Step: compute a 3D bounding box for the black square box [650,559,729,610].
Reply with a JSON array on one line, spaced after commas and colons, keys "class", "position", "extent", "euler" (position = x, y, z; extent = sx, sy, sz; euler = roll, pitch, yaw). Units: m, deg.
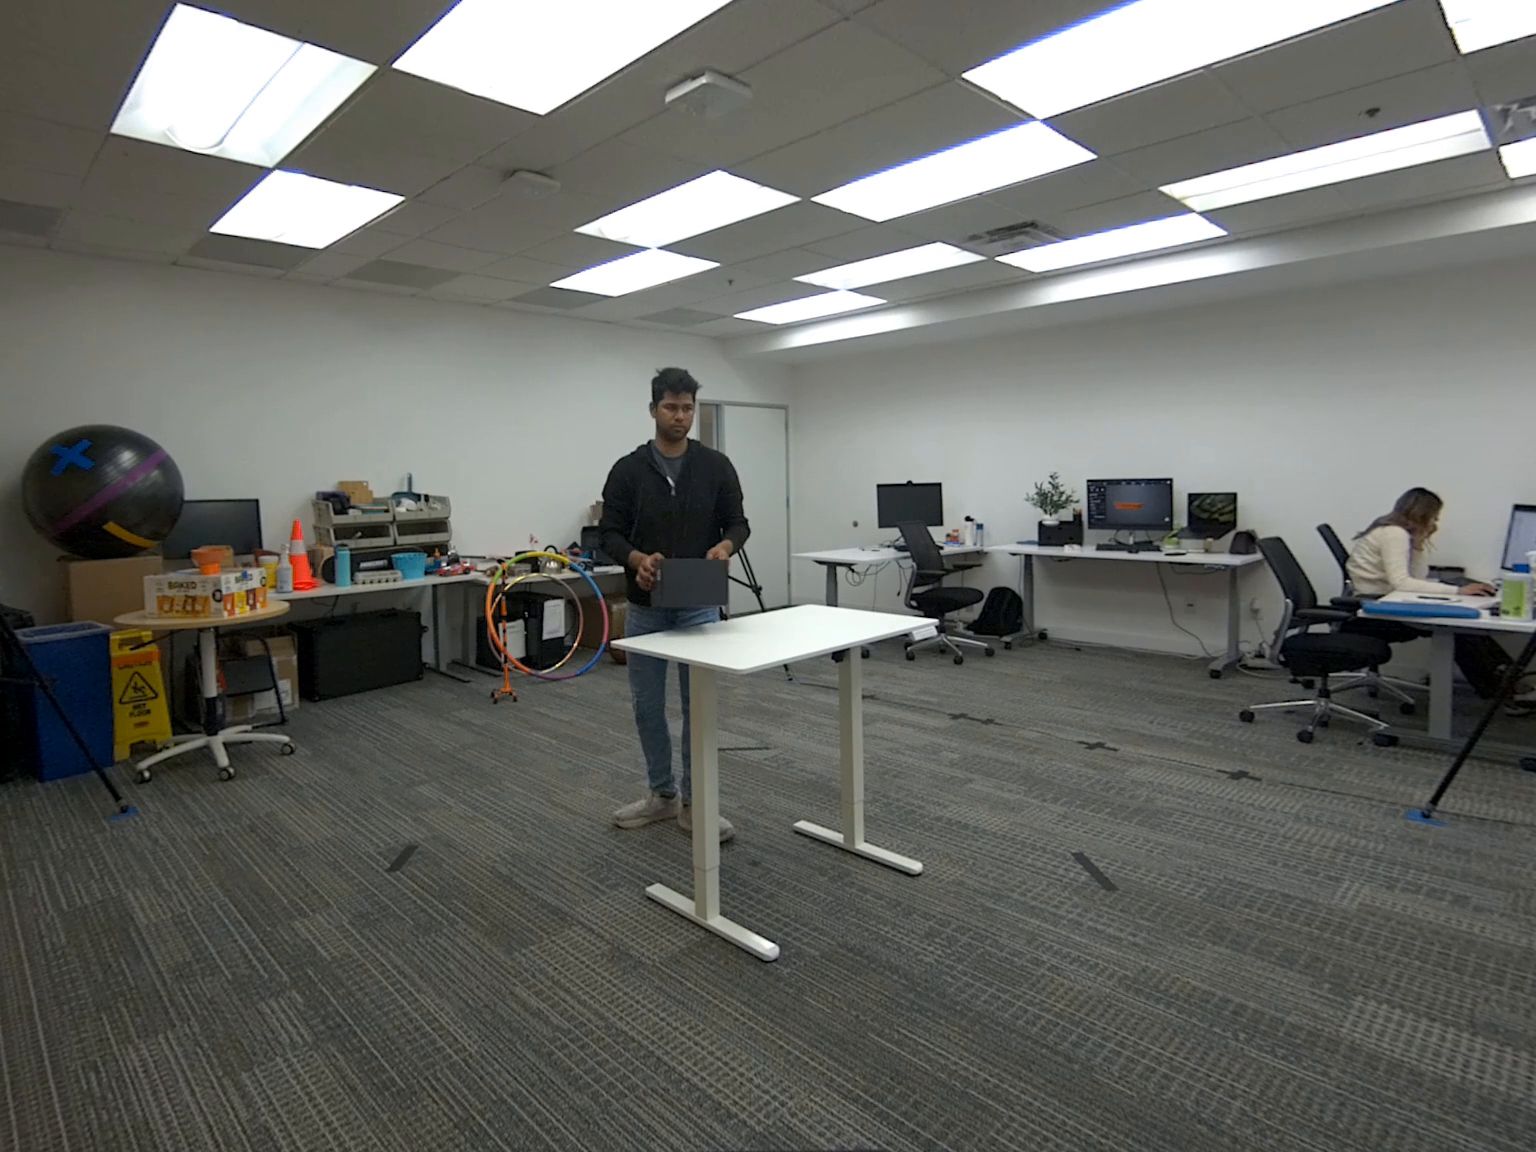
[{"class": "black square box", "position": [-0.288, 0.037, 2.950], "extent": [0.225, 0.157, 0.219], "euler": [1, -4, -14]}]
